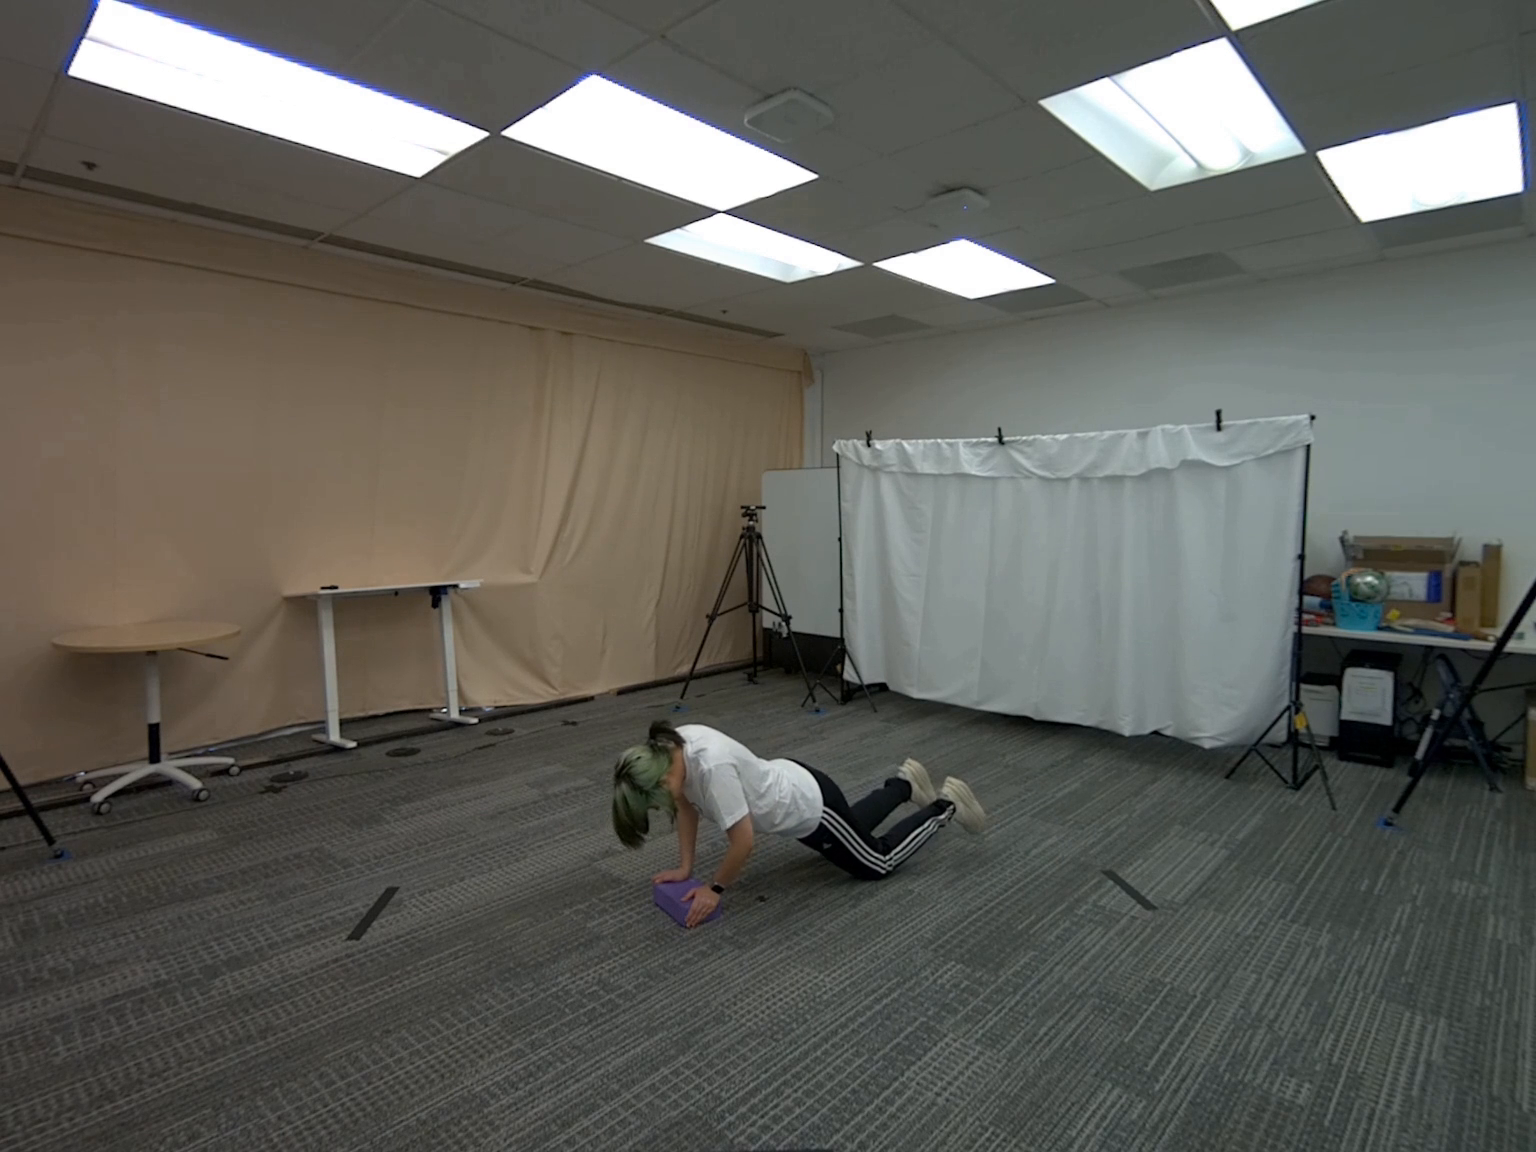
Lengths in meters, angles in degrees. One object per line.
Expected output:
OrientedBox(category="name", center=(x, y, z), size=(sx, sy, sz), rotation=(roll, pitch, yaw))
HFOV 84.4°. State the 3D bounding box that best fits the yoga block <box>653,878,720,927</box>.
OrientedBox(category="yoga block", center=(-0.277, 1.117, 2.907), size=(0.145, 0.076, 0.236), rotation=(-5, 7, -33))
